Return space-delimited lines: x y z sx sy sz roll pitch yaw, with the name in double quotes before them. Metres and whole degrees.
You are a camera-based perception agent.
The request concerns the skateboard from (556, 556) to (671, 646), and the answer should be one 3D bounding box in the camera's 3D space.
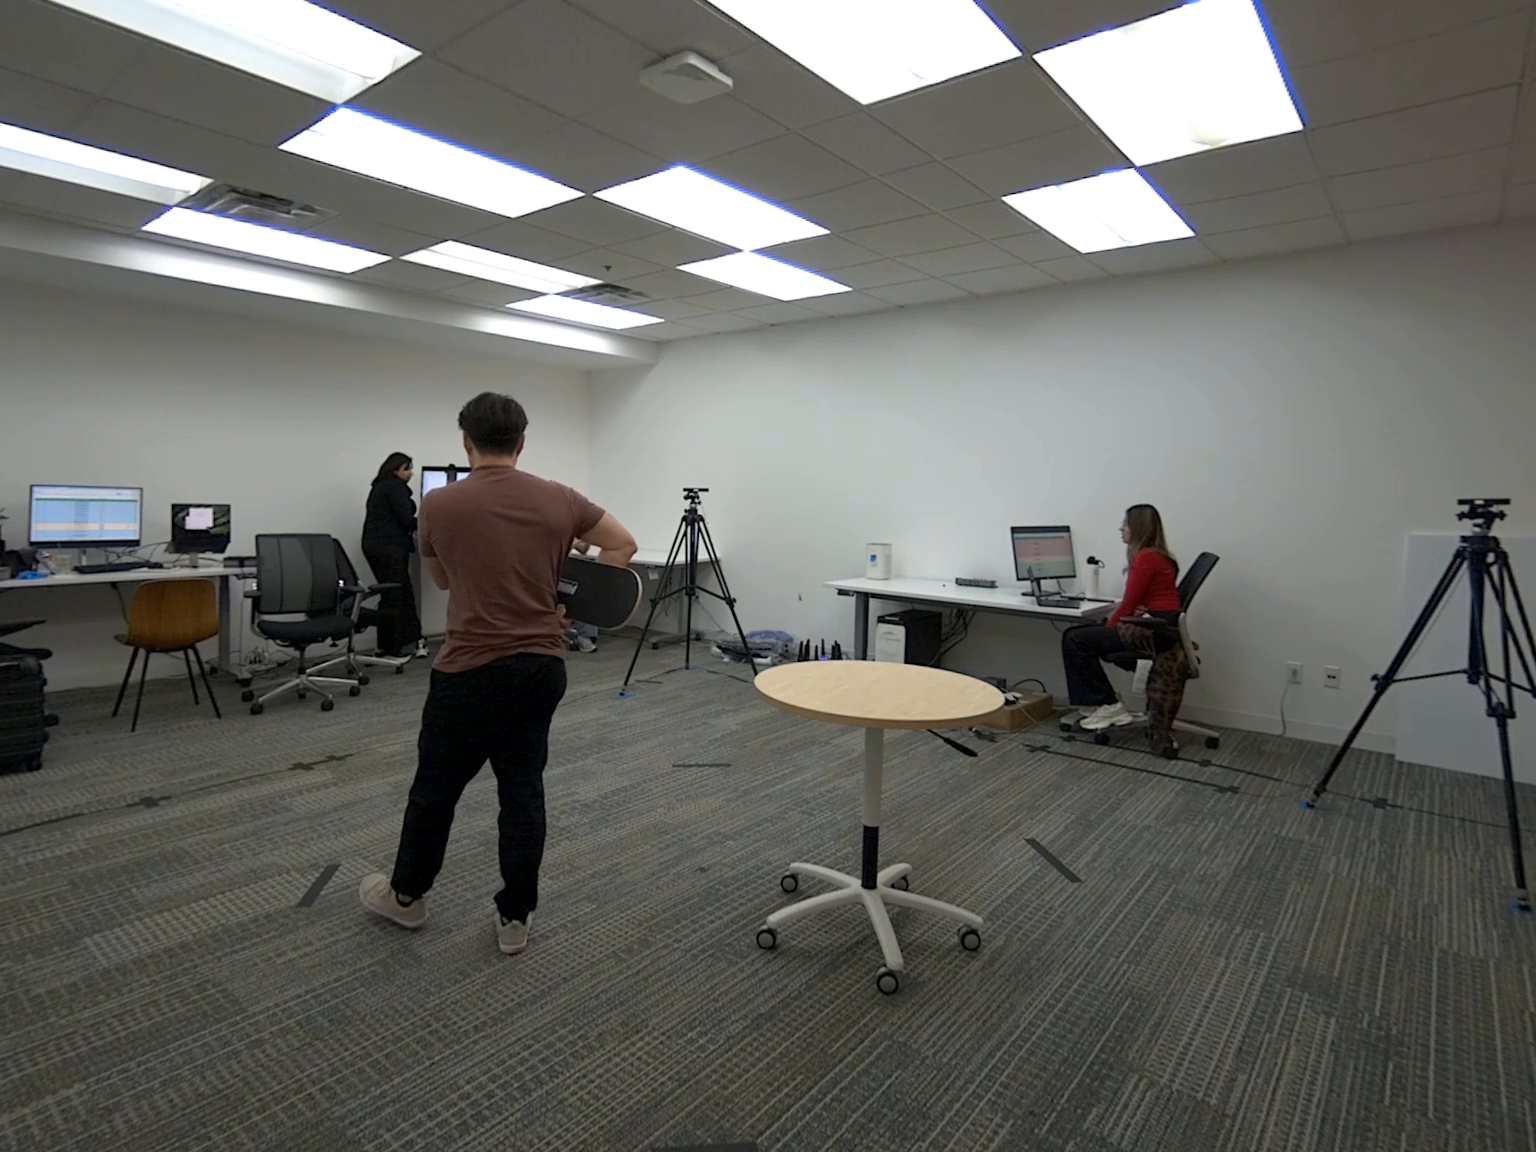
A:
"skateboard" -0.665 0.039 2.735 0.814 0.194 0.106 11 -12 39
